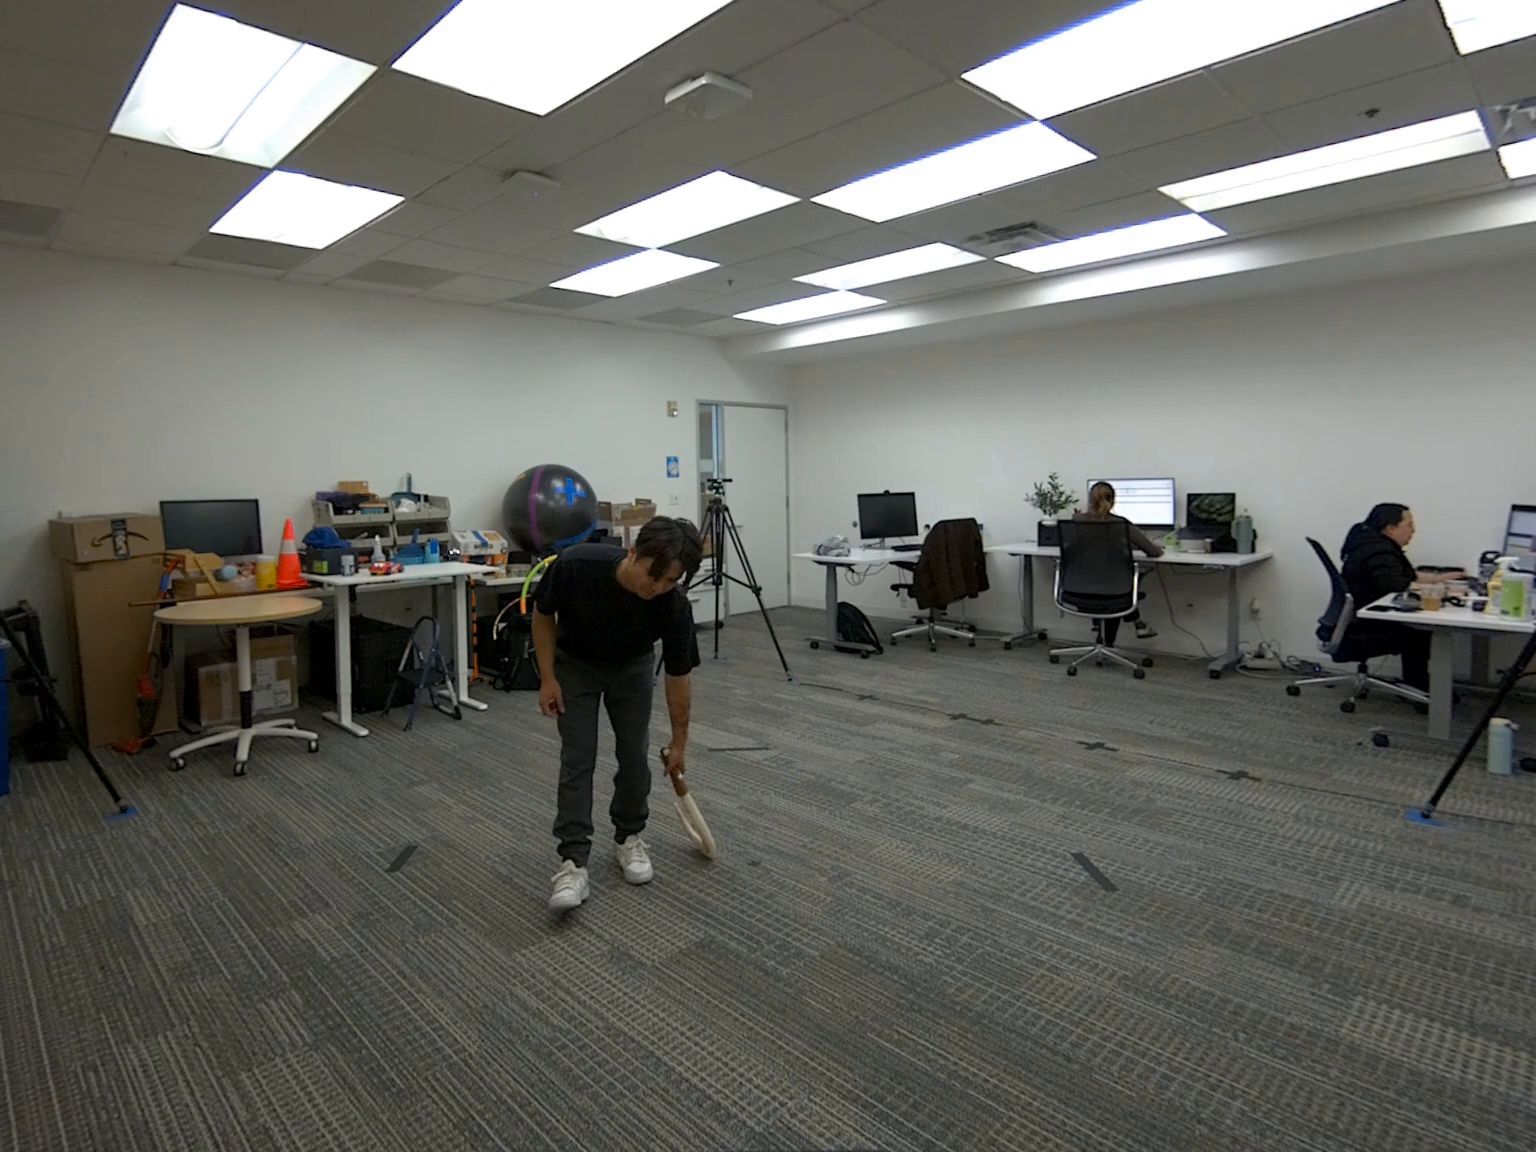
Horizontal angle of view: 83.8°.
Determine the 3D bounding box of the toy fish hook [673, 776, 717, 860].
[{"bbox_3d":[-0.312,0.816,3.123,0.048,0.496,0.231,-31,22,-31],"label":"toy fish hook"}]
